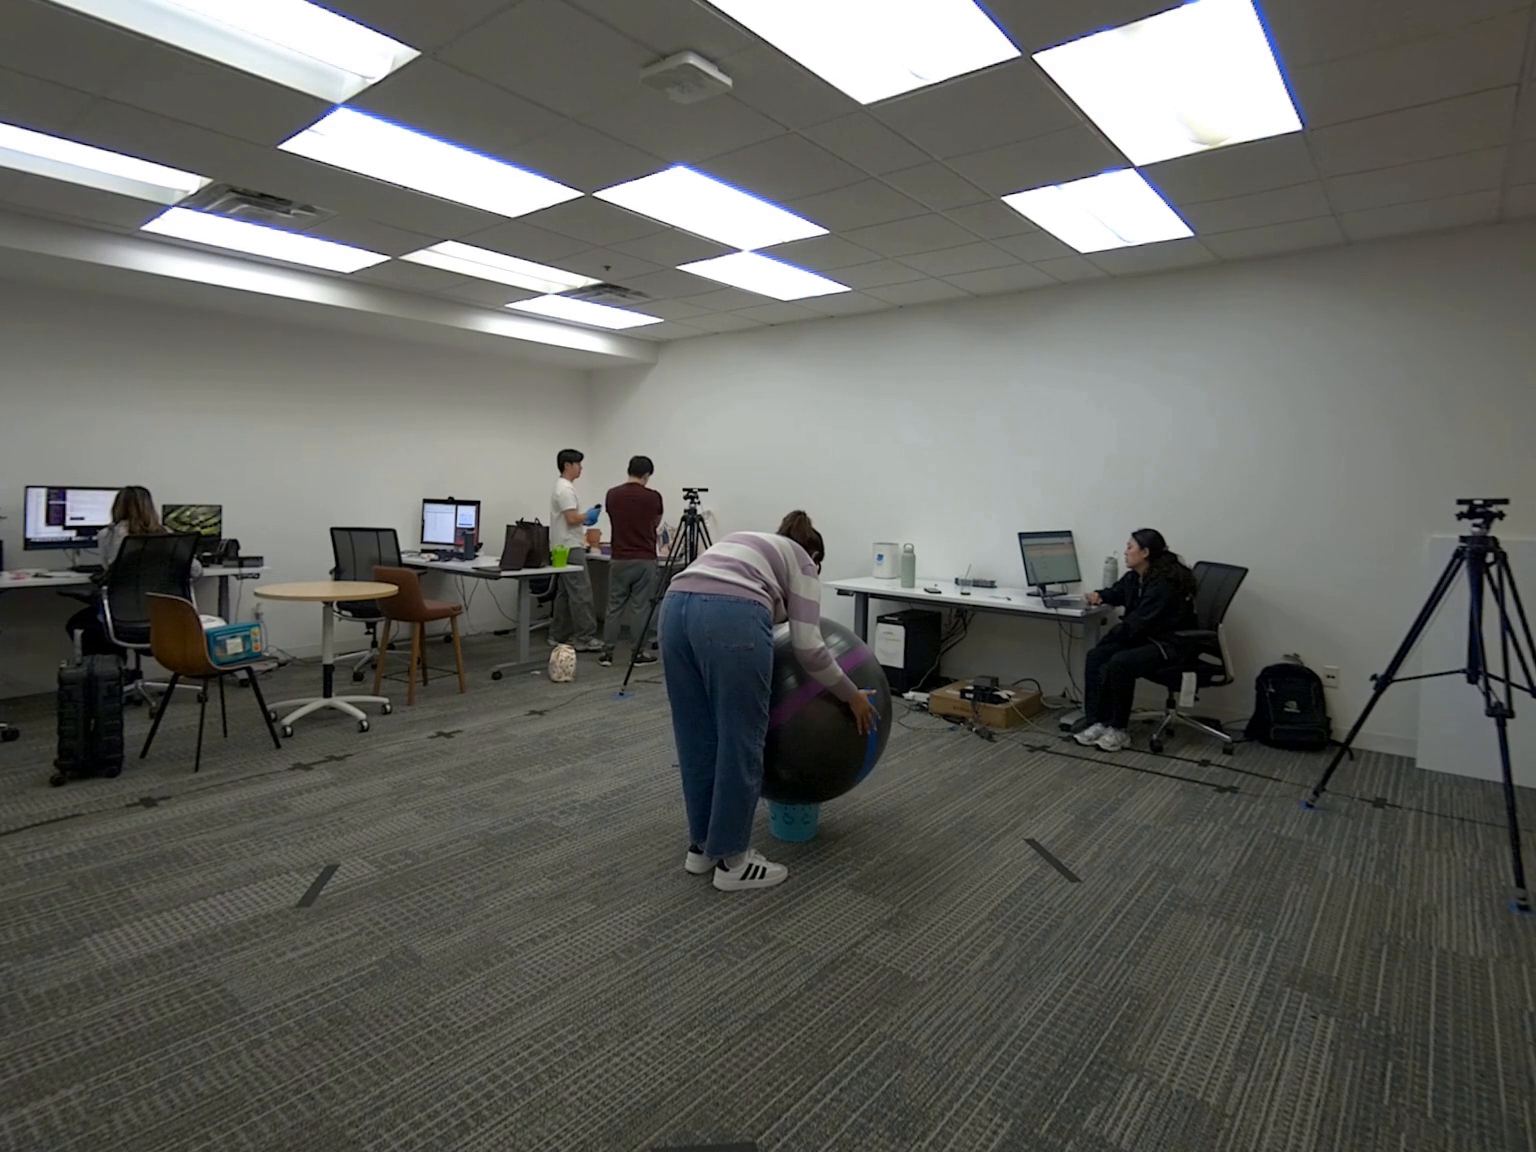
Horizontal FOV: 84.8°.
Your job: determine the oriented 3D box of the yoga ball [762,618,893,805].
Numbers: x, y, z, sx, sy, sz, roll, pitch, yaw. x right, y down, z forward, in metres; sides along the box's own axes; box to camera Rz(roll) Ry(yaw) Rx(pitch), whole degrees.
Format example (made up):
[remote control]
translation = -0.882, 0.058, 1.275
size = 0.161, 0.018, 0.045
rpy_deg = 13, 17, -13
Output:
[yoga ball]
translation = 0.119, 0.538, 3.455
size = 0.757, 0.756, 0.761
rpy_deg = 1, 4, -2
